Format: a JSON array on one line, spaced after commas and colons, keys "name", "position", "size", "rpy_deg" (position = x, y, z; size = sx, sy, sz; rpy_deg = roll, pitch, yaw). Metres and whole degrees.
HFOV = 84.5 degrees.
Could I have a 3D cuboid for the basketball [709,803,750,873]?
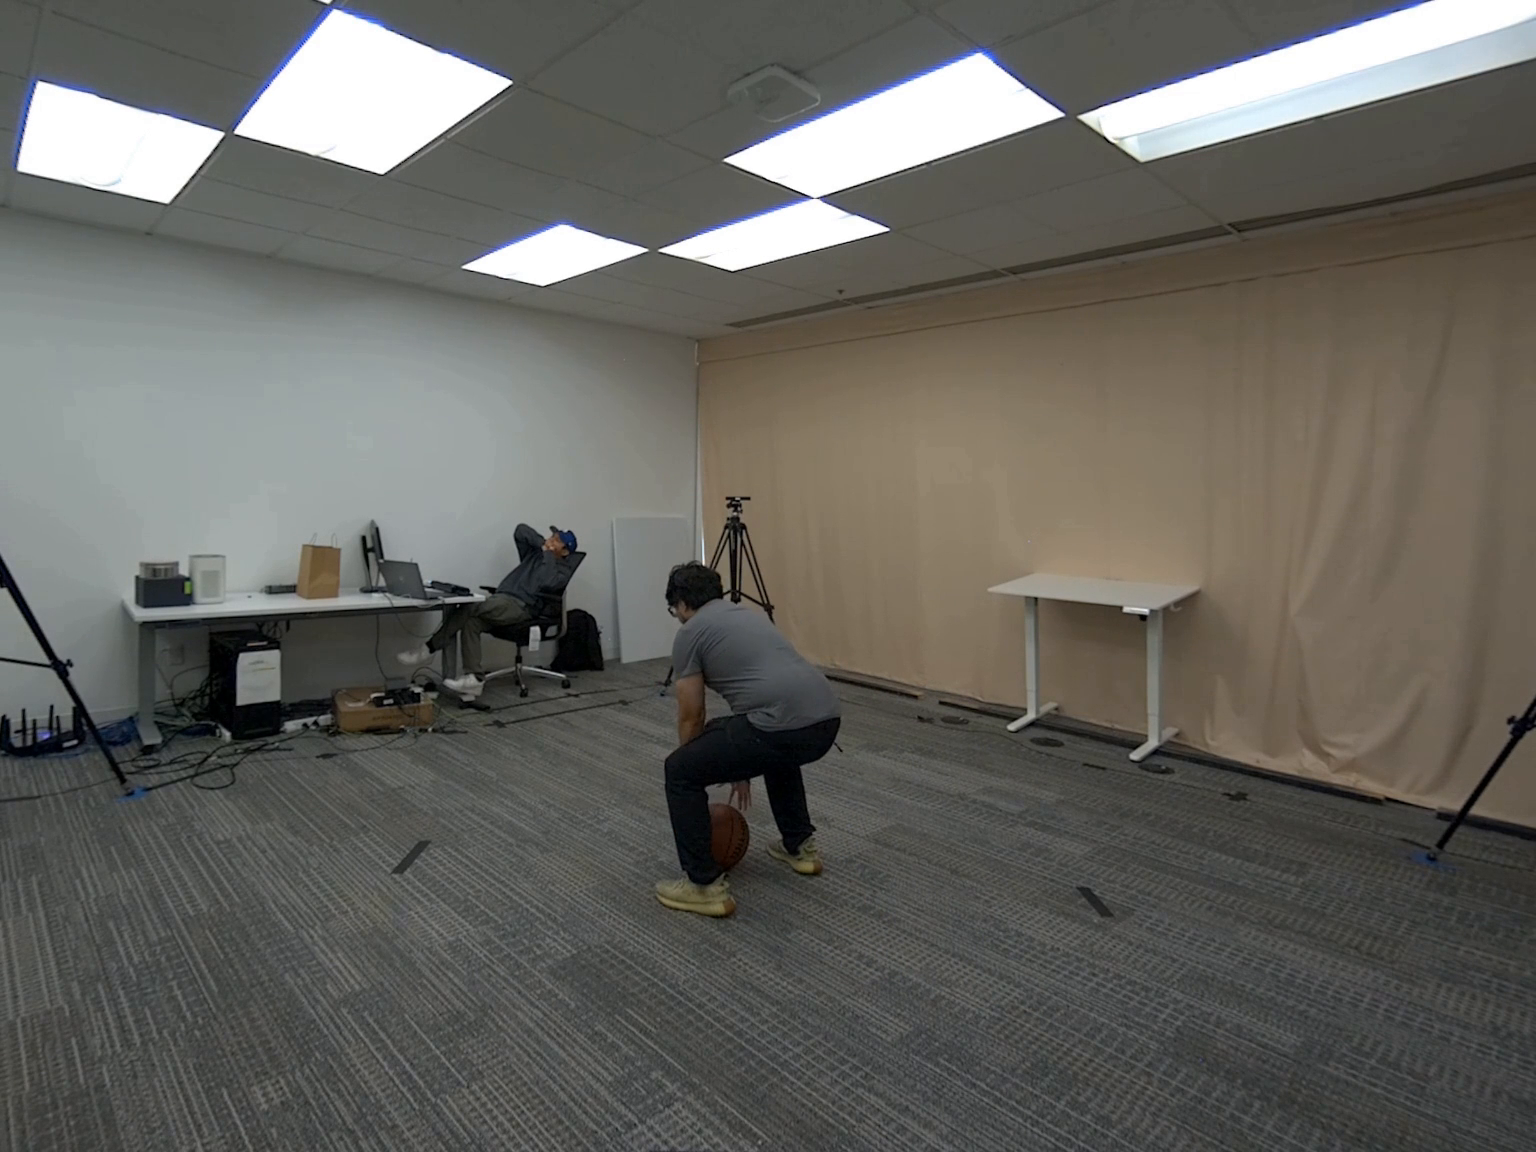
[{"name": "basketball", "position": [-0.193, 0.980, 3.162], "size": [0.236, 0.235, 0.237], "rpy_deg": [1, 4, -1]}]
